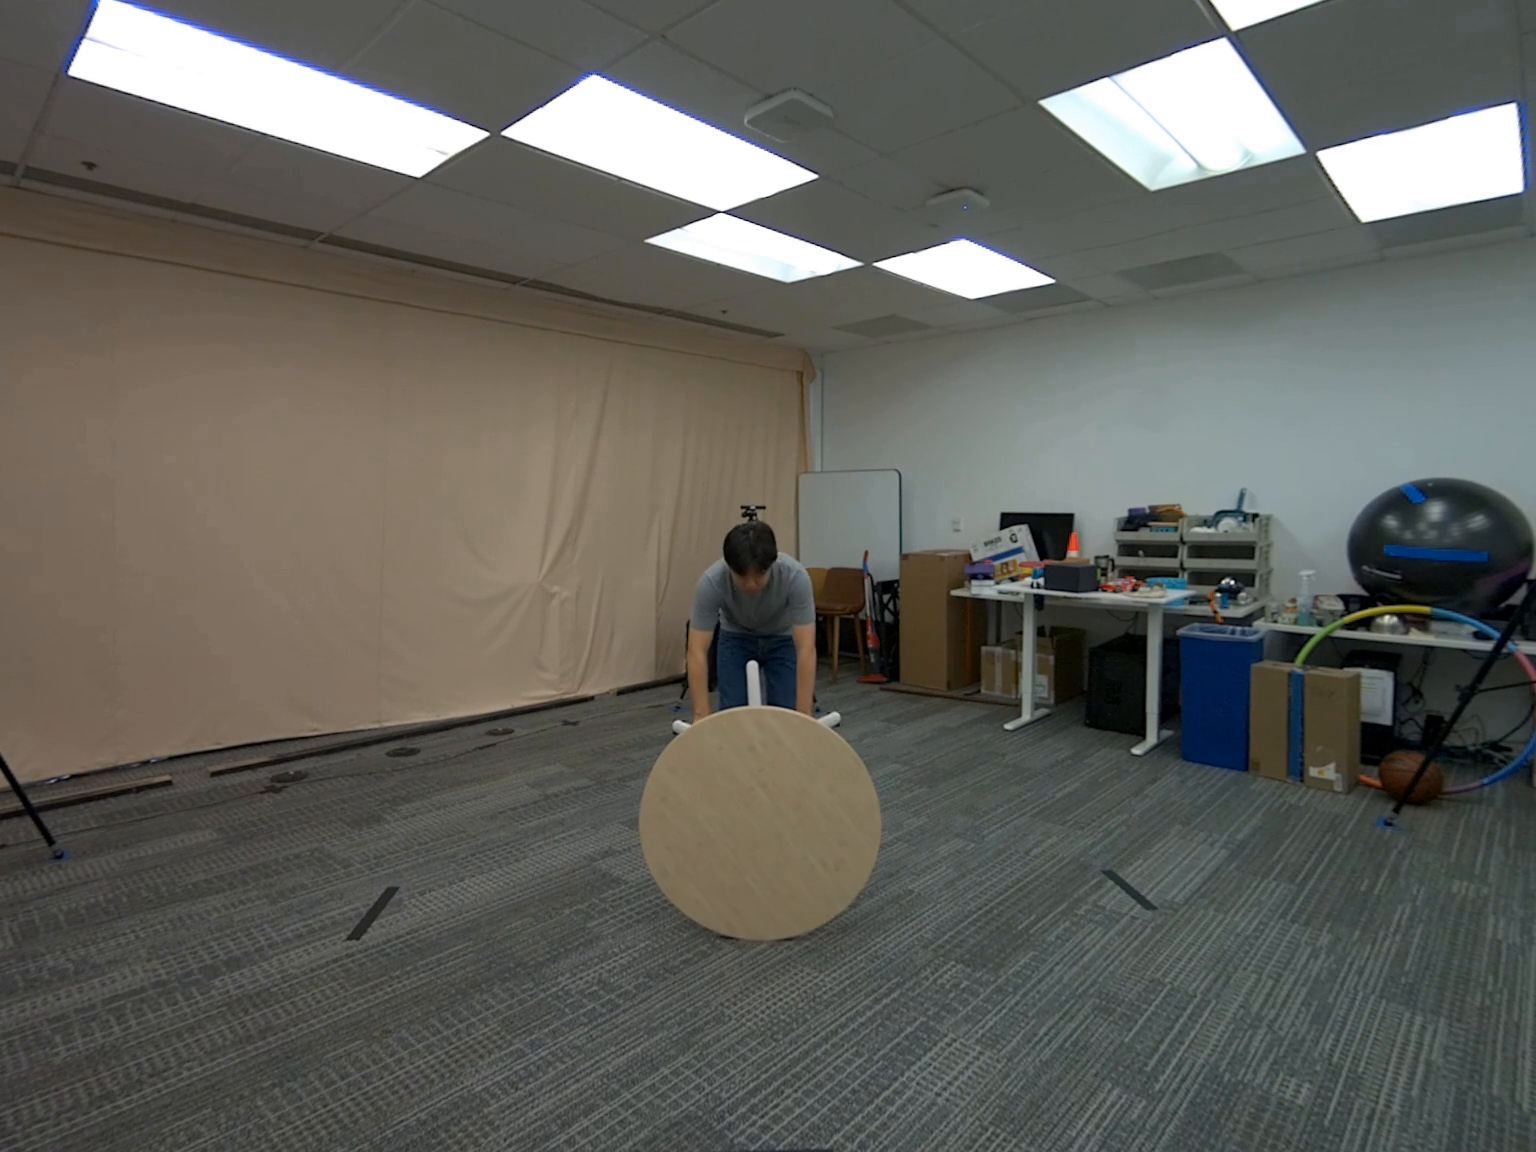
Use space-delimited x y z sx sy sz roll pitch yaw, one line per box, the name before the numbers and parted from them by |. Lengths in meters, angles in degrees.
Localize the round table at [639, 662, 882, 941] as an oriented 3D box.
round table | -0.037 0.735 3.046 0.766 0.761 0.796 0 7 1
